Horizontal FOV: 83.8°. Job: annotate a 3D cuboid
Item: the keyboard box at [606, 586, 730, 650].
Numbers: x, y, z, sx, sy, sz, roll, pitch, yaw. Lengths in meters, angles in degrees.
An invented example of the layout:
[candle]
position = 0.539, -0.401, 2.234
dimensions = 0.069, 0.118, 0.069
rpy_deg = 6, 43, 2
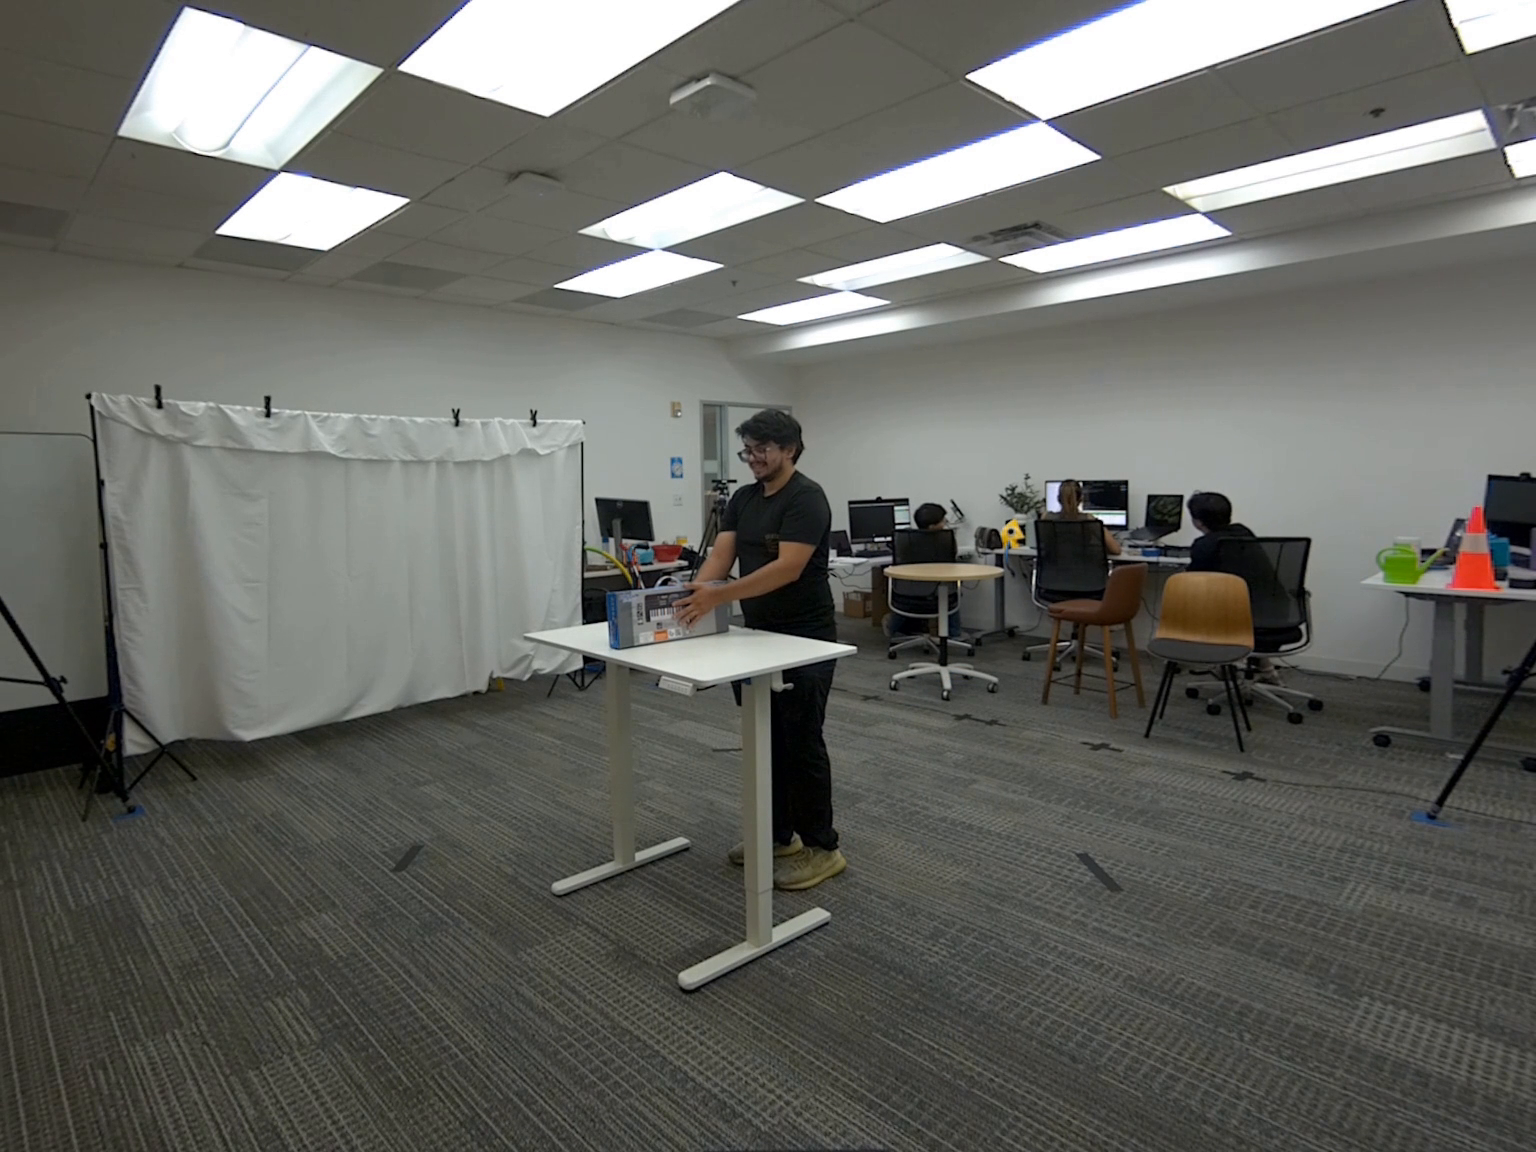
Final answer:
[keyboard box]
position = -0.317, 0.124, 2.769
dimensions = 0.425, 0.176, 0.061
rpy_deg = -6, 2, -39
